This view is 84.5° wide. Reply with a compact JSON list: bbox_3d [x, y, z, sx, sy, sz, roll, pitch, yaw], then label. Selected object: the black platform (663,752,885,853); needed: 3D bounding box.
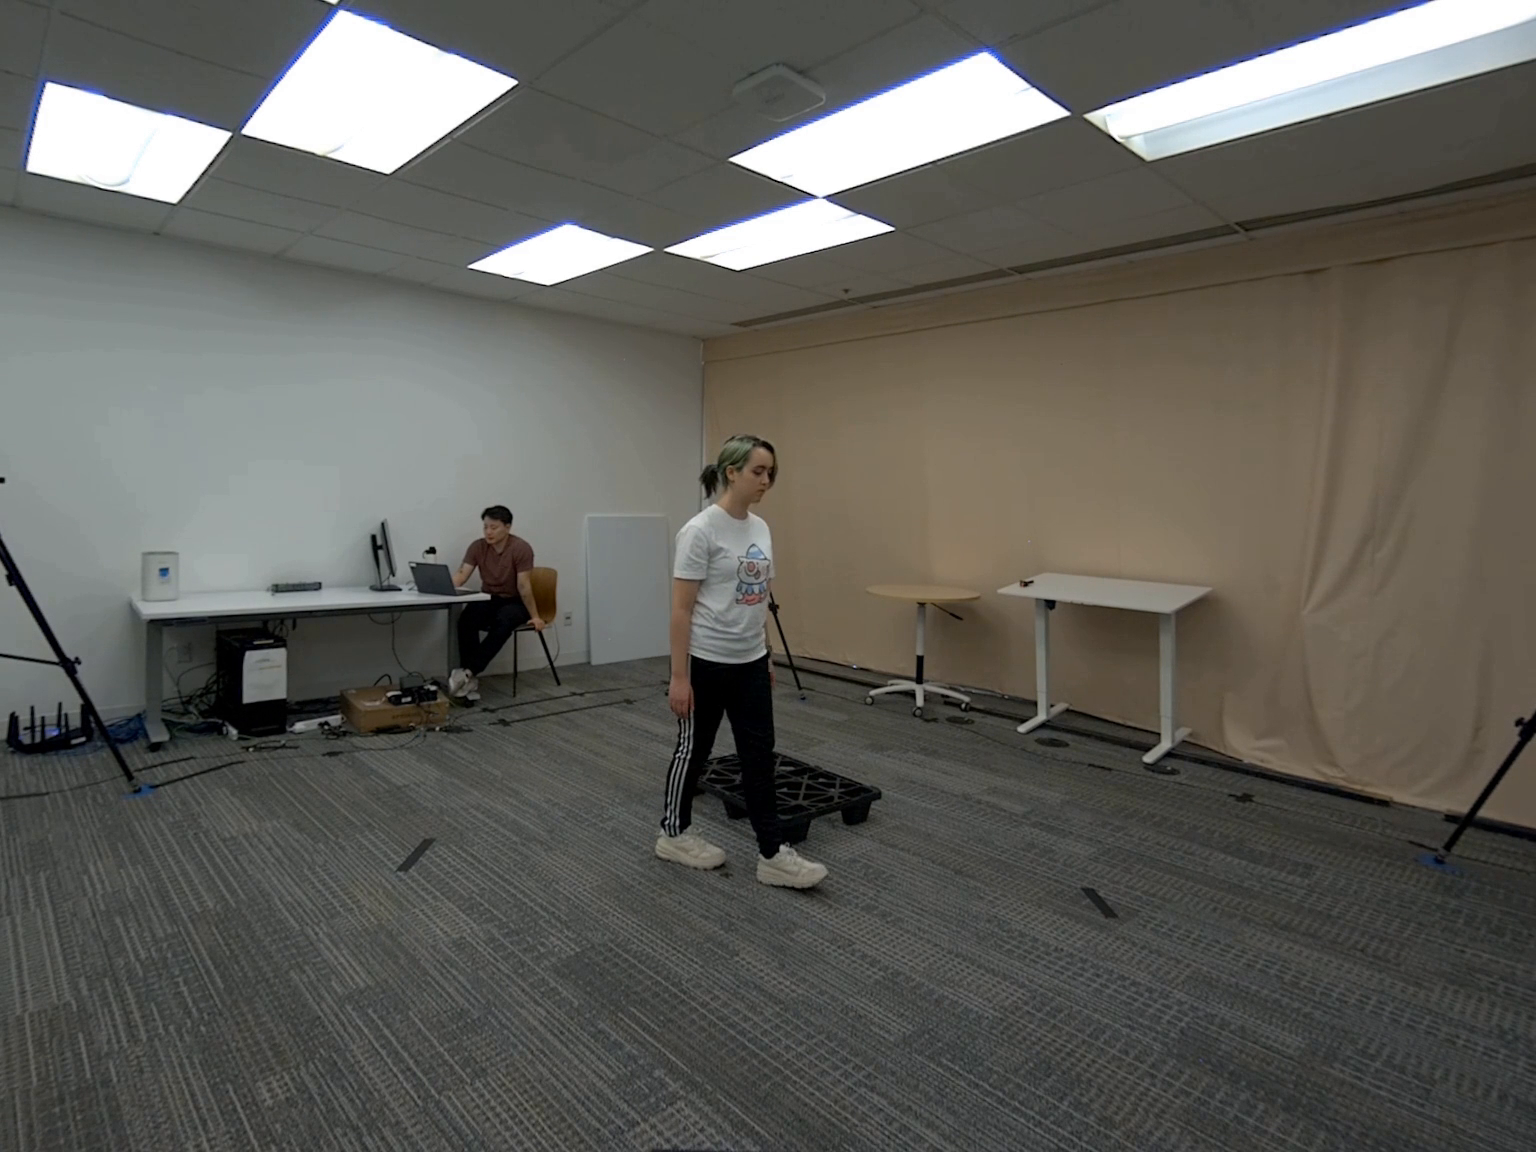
[{"bbox_3d":[0.008,0.985,3.800,0.591,0.143,0.826,-3,7,-40],"label":"black platform"}]
